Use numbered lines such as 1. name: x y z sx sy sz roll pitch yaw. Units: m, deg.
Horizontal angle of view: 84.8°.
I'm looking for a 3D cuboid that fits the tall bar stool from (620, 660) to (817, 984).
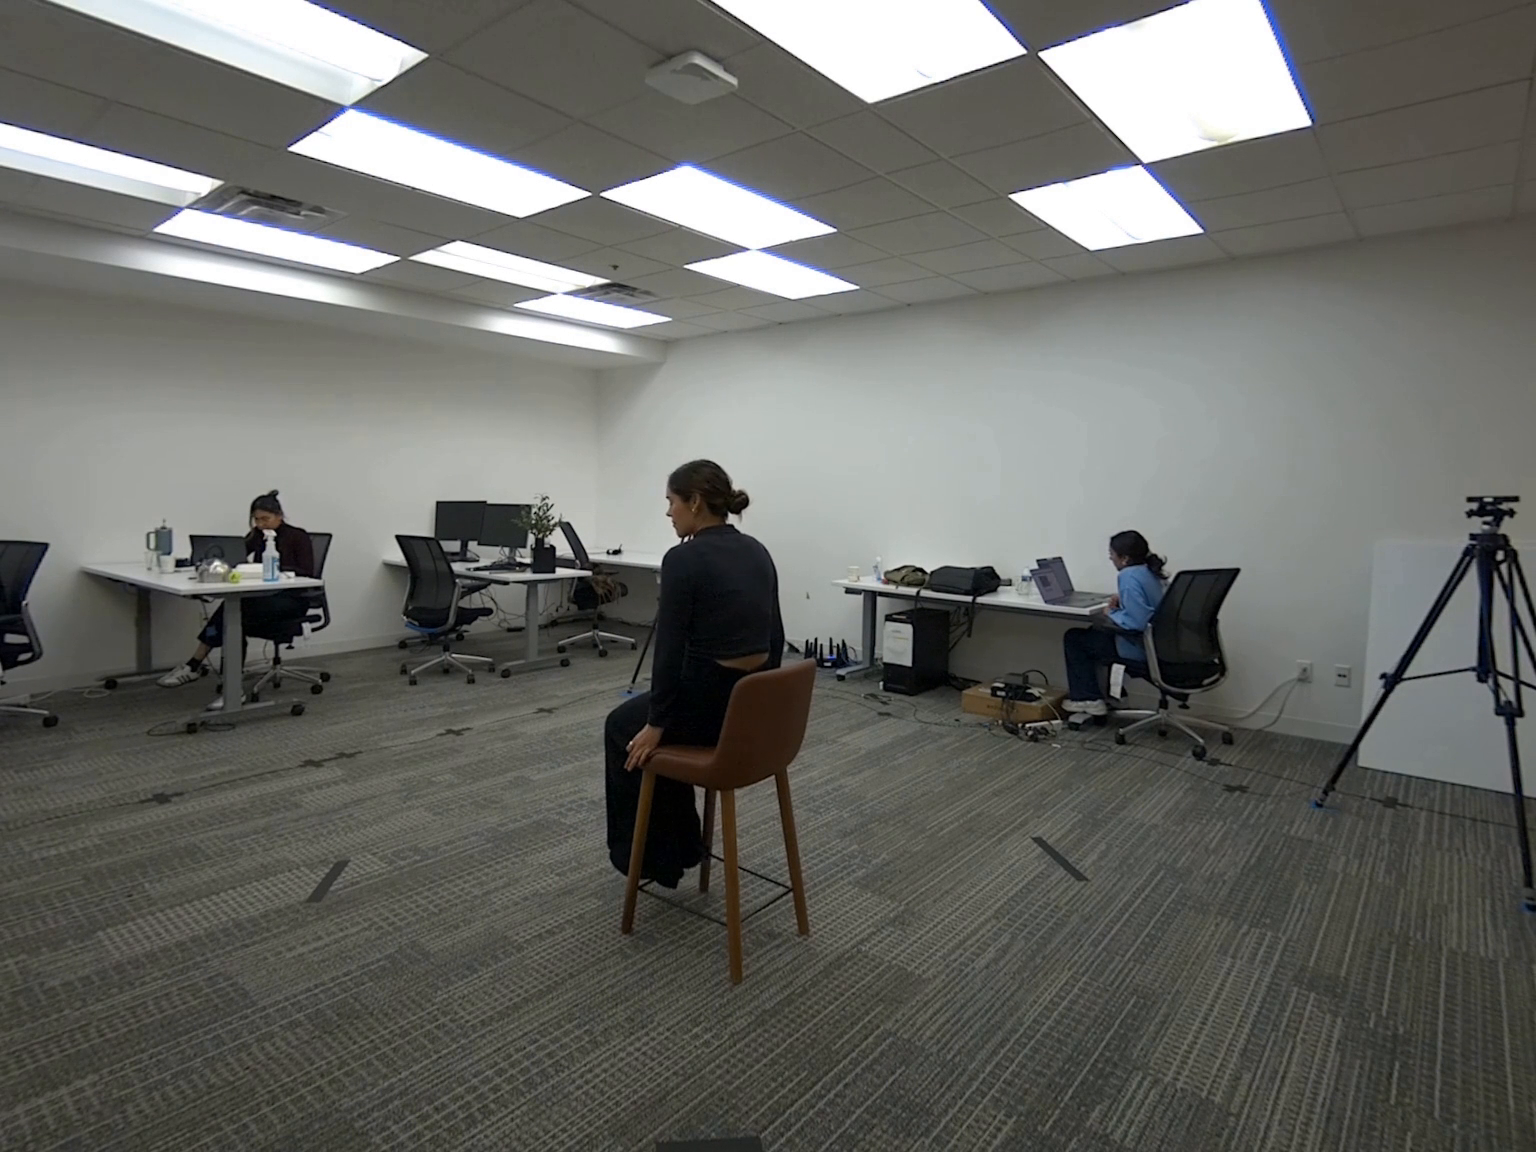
1. tall bar stool: -0.147 0.681 2.624 0.483 0.886 0.443 6 6 37
